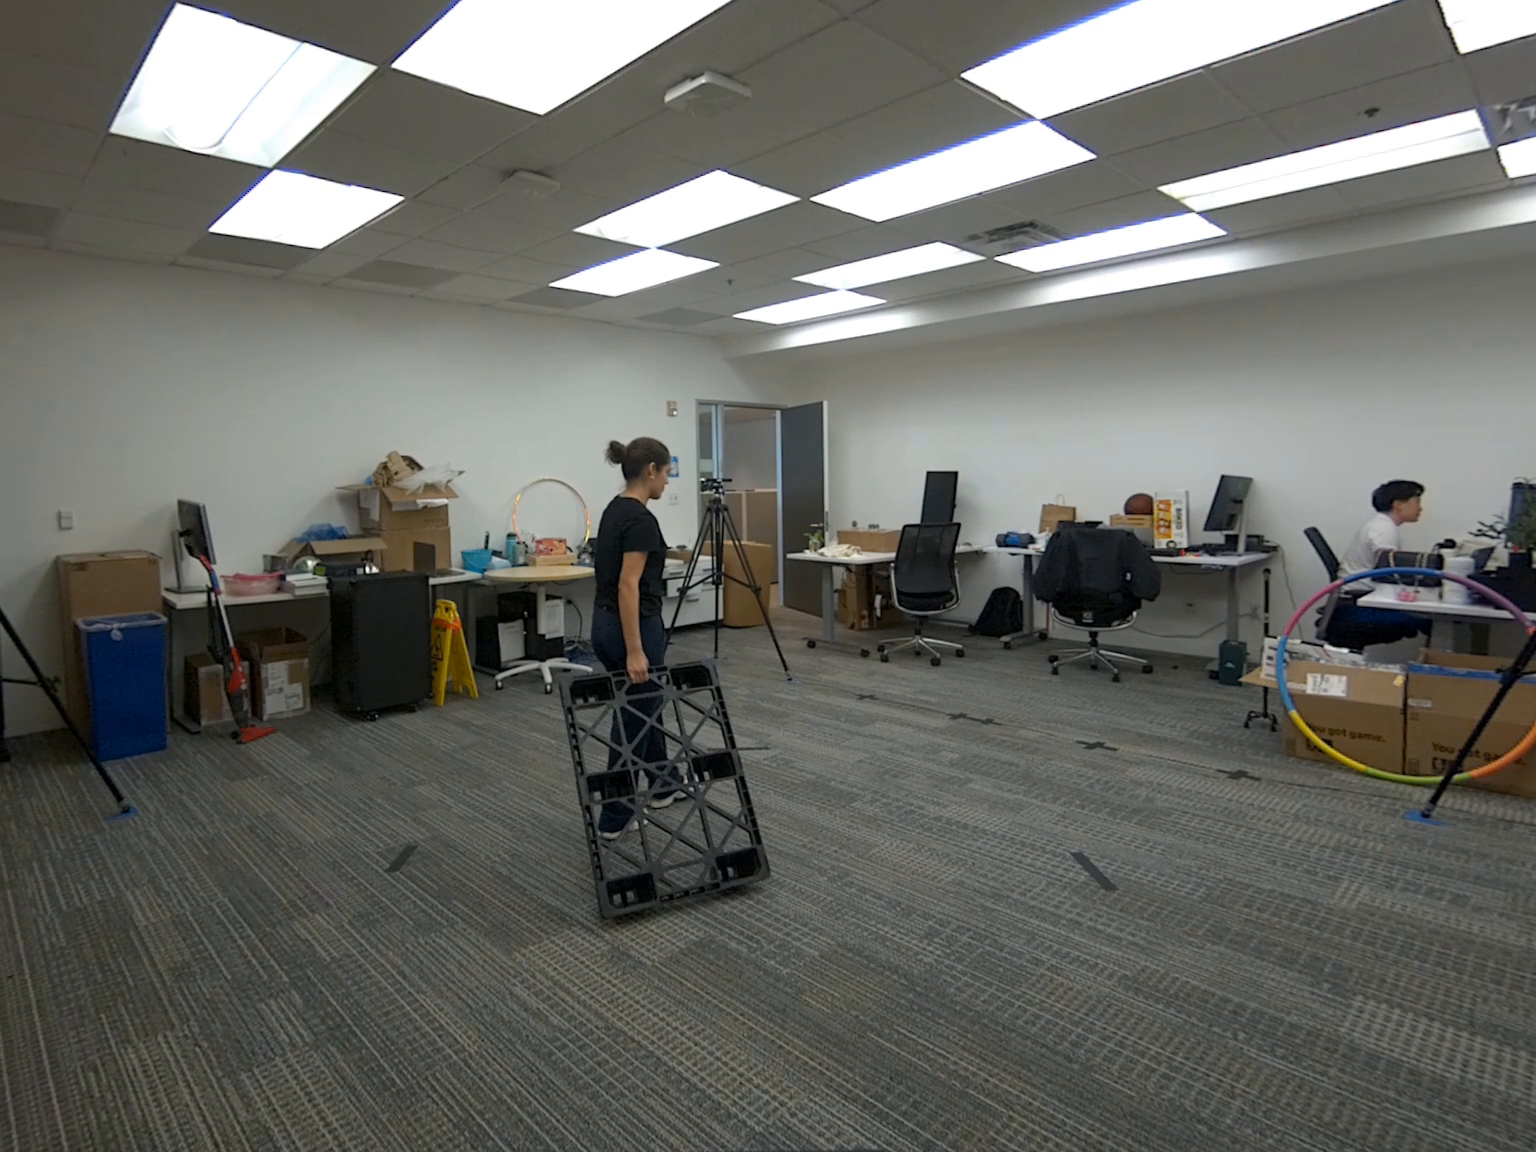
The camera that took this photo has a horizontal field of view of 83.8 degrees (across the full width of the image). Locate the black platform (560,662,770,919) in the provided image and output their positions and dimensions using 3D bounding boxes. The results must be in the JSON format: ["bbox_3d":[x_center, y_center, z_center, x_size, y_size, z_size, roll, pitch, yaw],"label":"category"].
[{"bbox_3d":[-0.380,0.712,3.016,0.592,0.827,0.142,-3,-29,-26],"label":"black platform"}]
